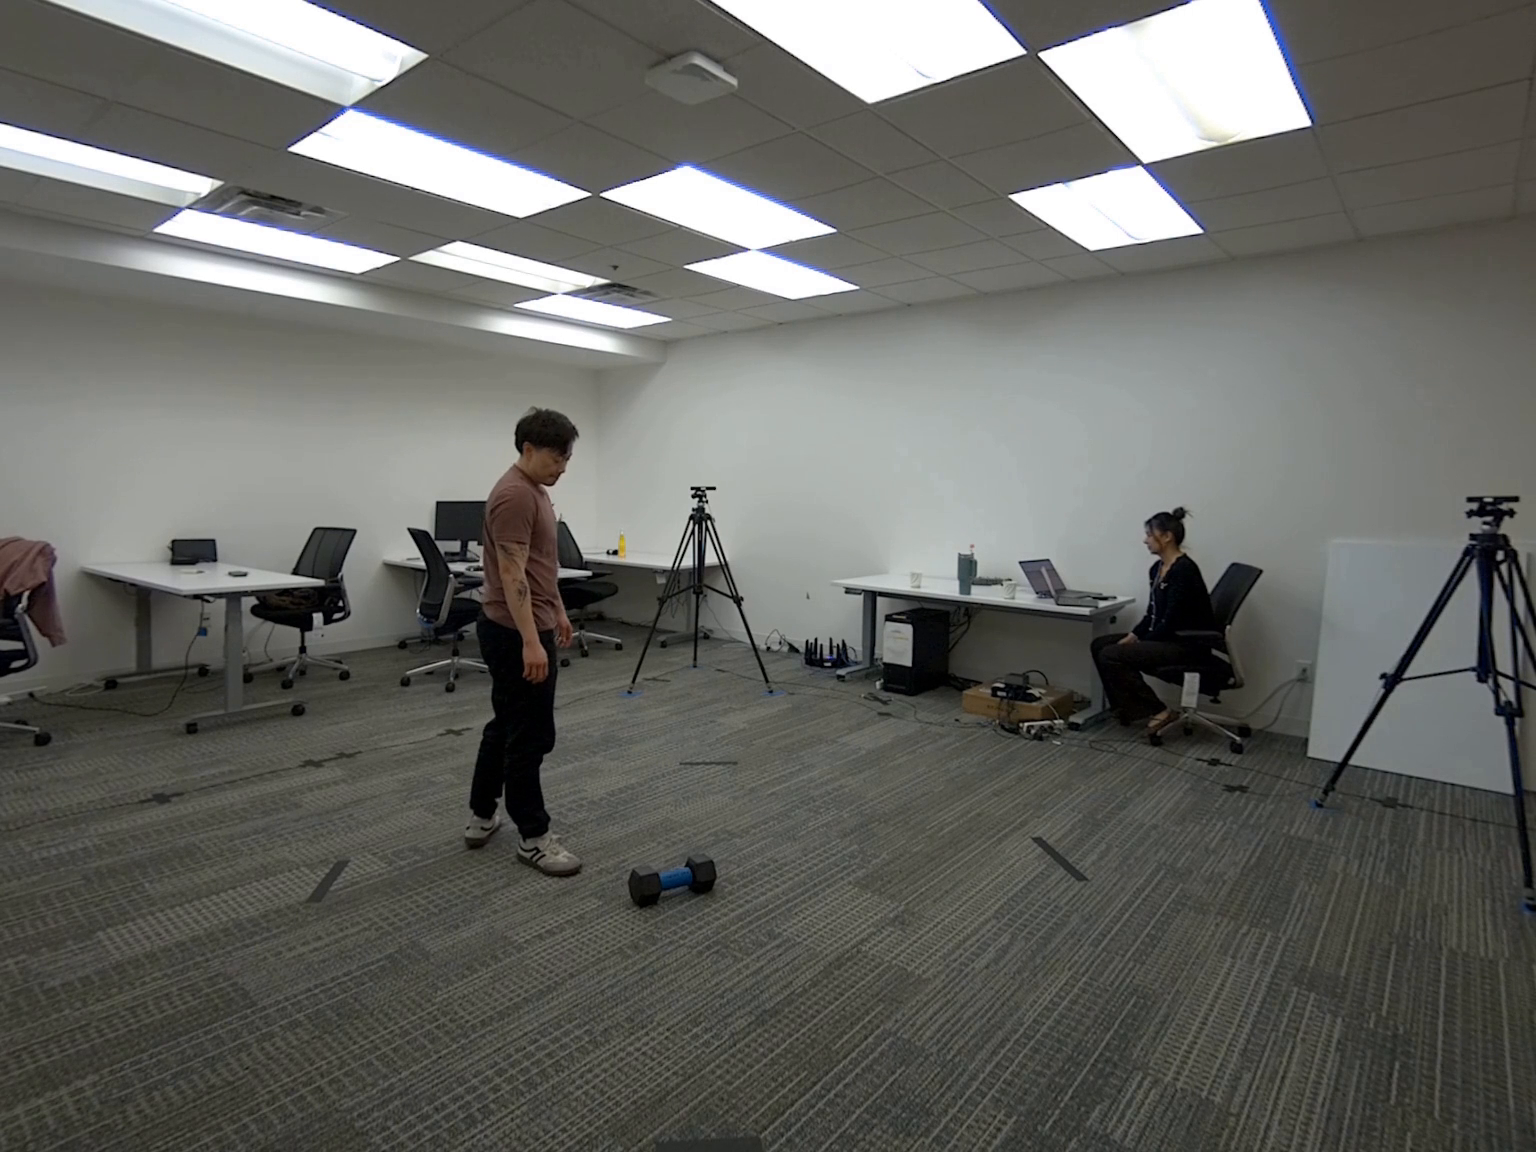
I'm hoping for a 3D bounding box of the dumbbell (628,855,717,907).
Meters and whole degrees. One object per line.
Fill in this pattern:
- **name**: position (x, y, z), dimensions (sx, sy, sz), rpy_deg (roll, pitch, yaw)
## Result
- **dumbbell**: position (-0.333, 1.029, 2.890), dimensions (0.286, 0.121, 0.113), rpy_deg (-1, 35, -30)
